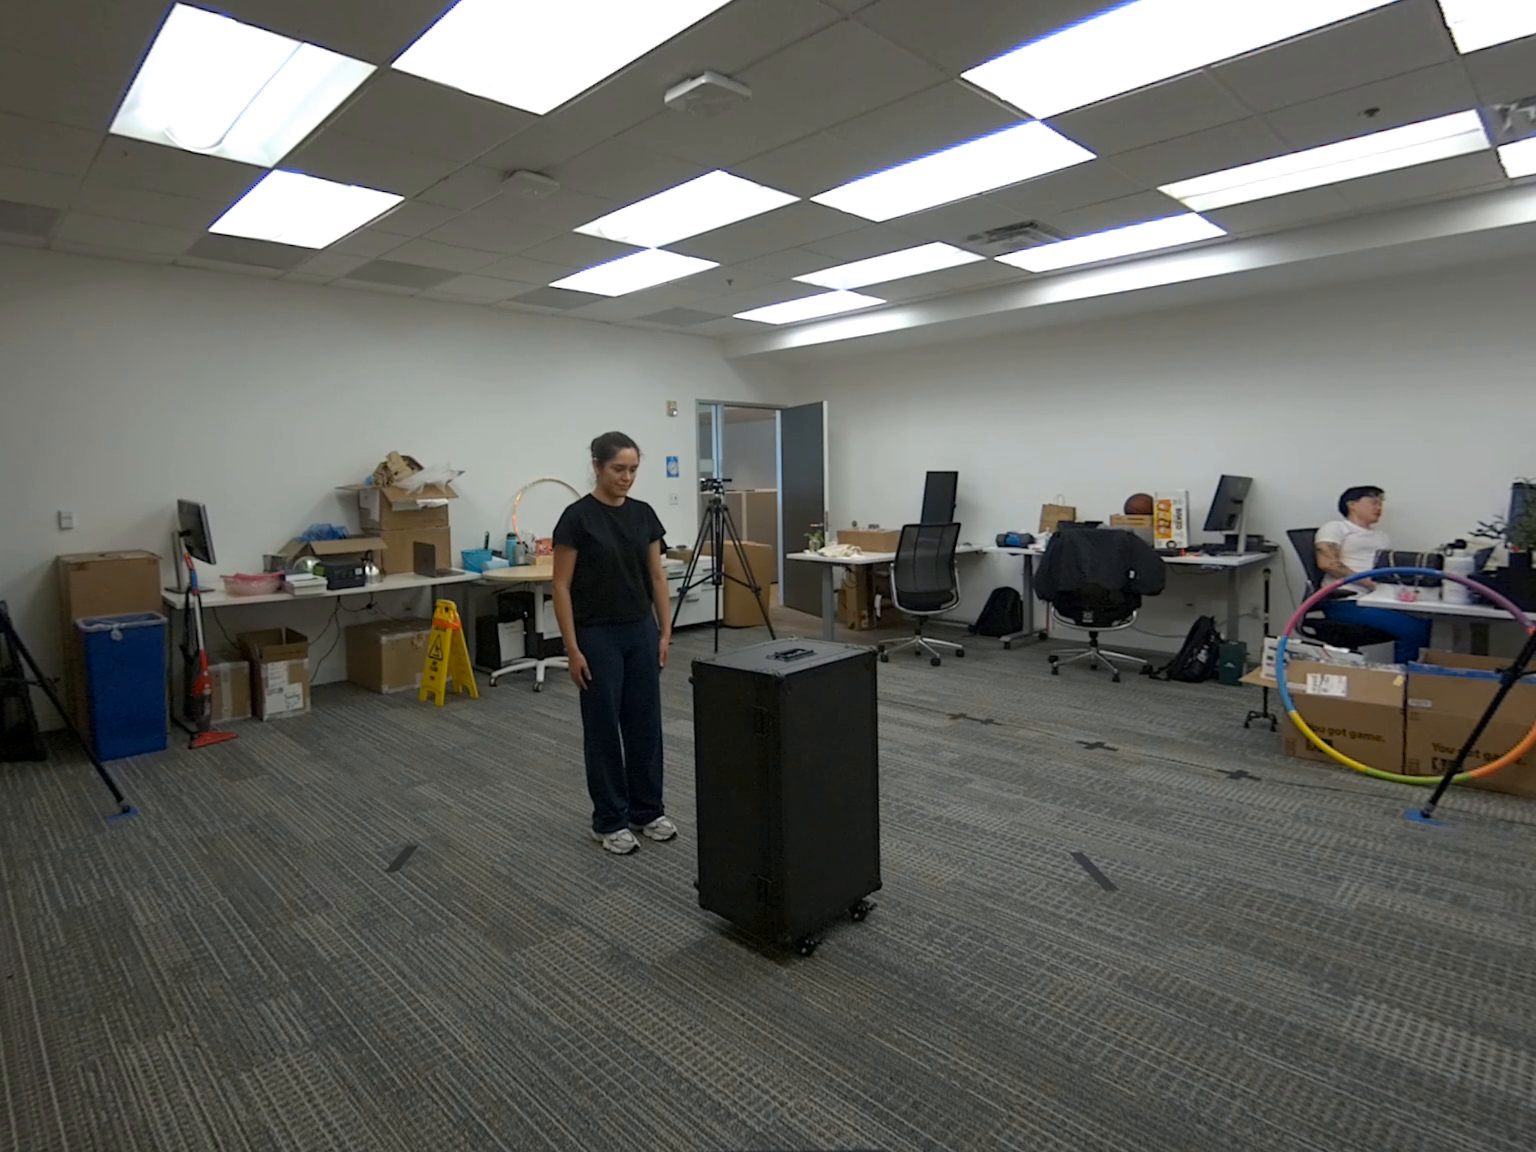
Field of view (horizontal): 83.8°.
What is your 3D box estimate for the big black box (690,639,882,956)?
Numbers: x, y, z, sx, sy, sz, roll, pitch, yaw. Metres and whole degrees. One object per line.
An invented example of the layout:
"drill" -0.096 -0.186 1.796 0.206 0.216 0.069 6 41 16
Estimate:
"big black box" 0.059 0.665 2.698 0.408 0.859 0.507 1 5 42
